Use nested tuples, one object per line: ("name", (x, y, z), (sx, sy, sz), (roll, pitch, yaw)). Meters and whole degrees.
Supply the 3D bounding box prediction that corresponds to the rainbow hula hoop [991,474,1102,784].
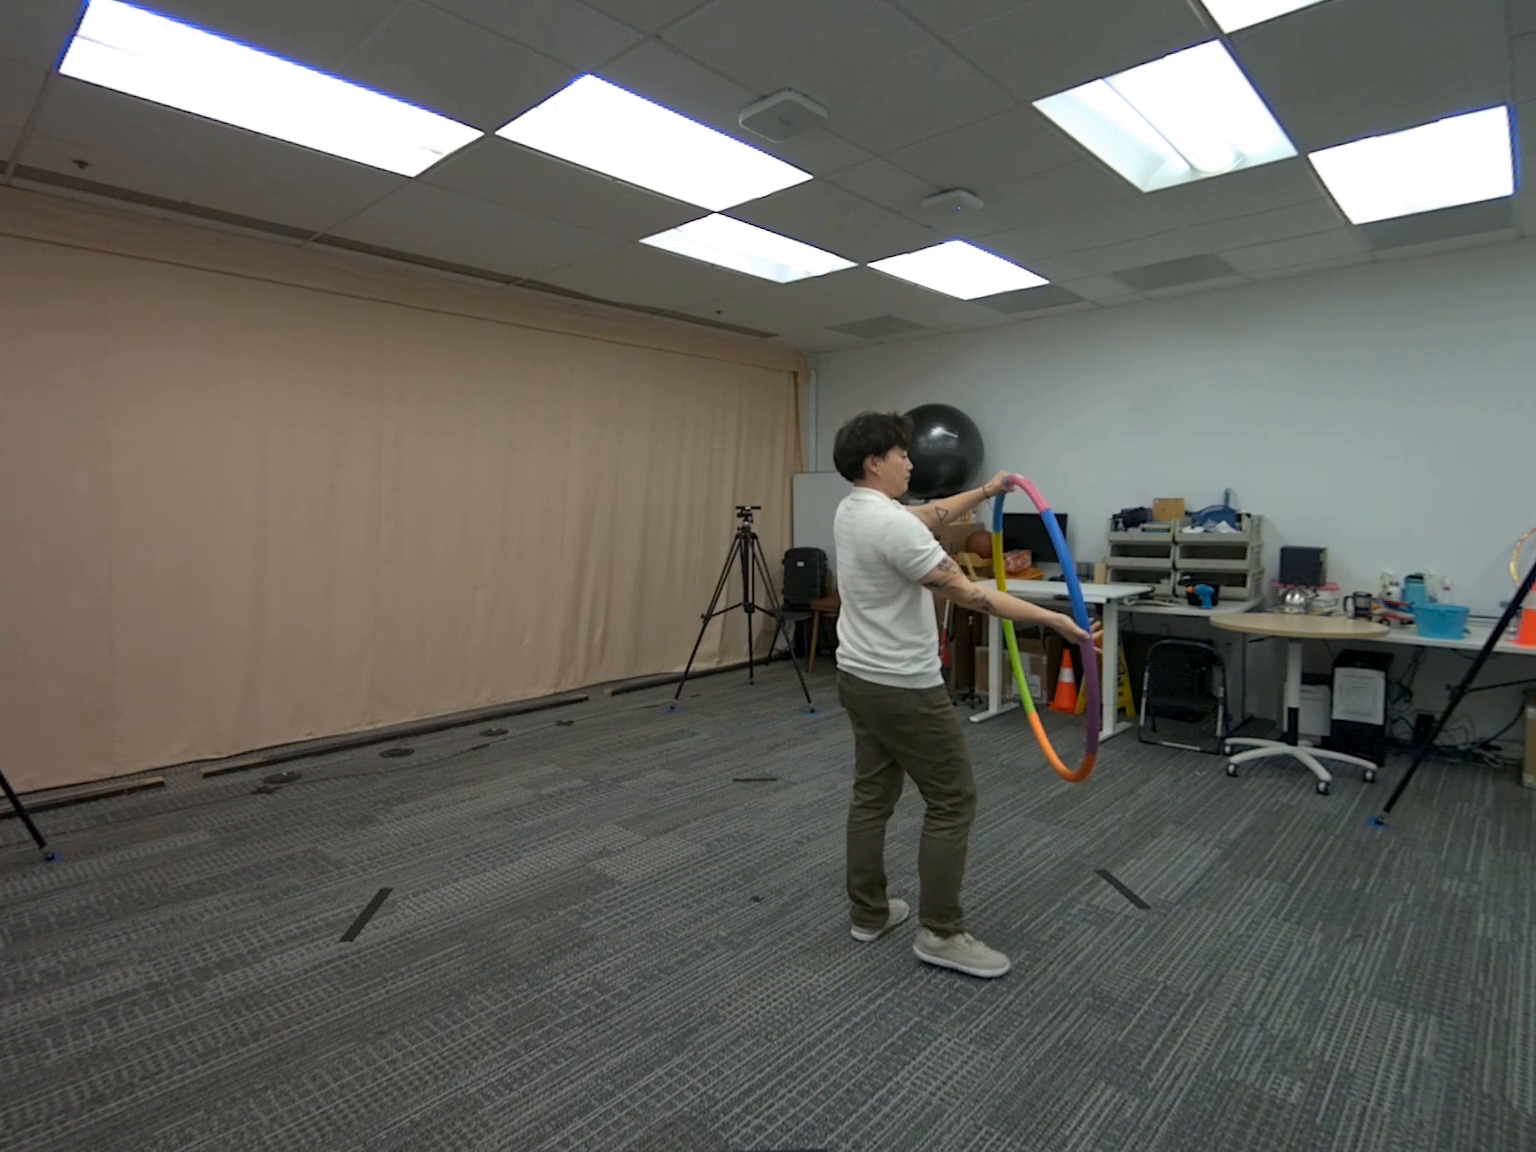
("rainbow hula hoop", (0.888, 0.166, 2.734), (0.036, 0.977, 0.976), (-9, 3, 3))
